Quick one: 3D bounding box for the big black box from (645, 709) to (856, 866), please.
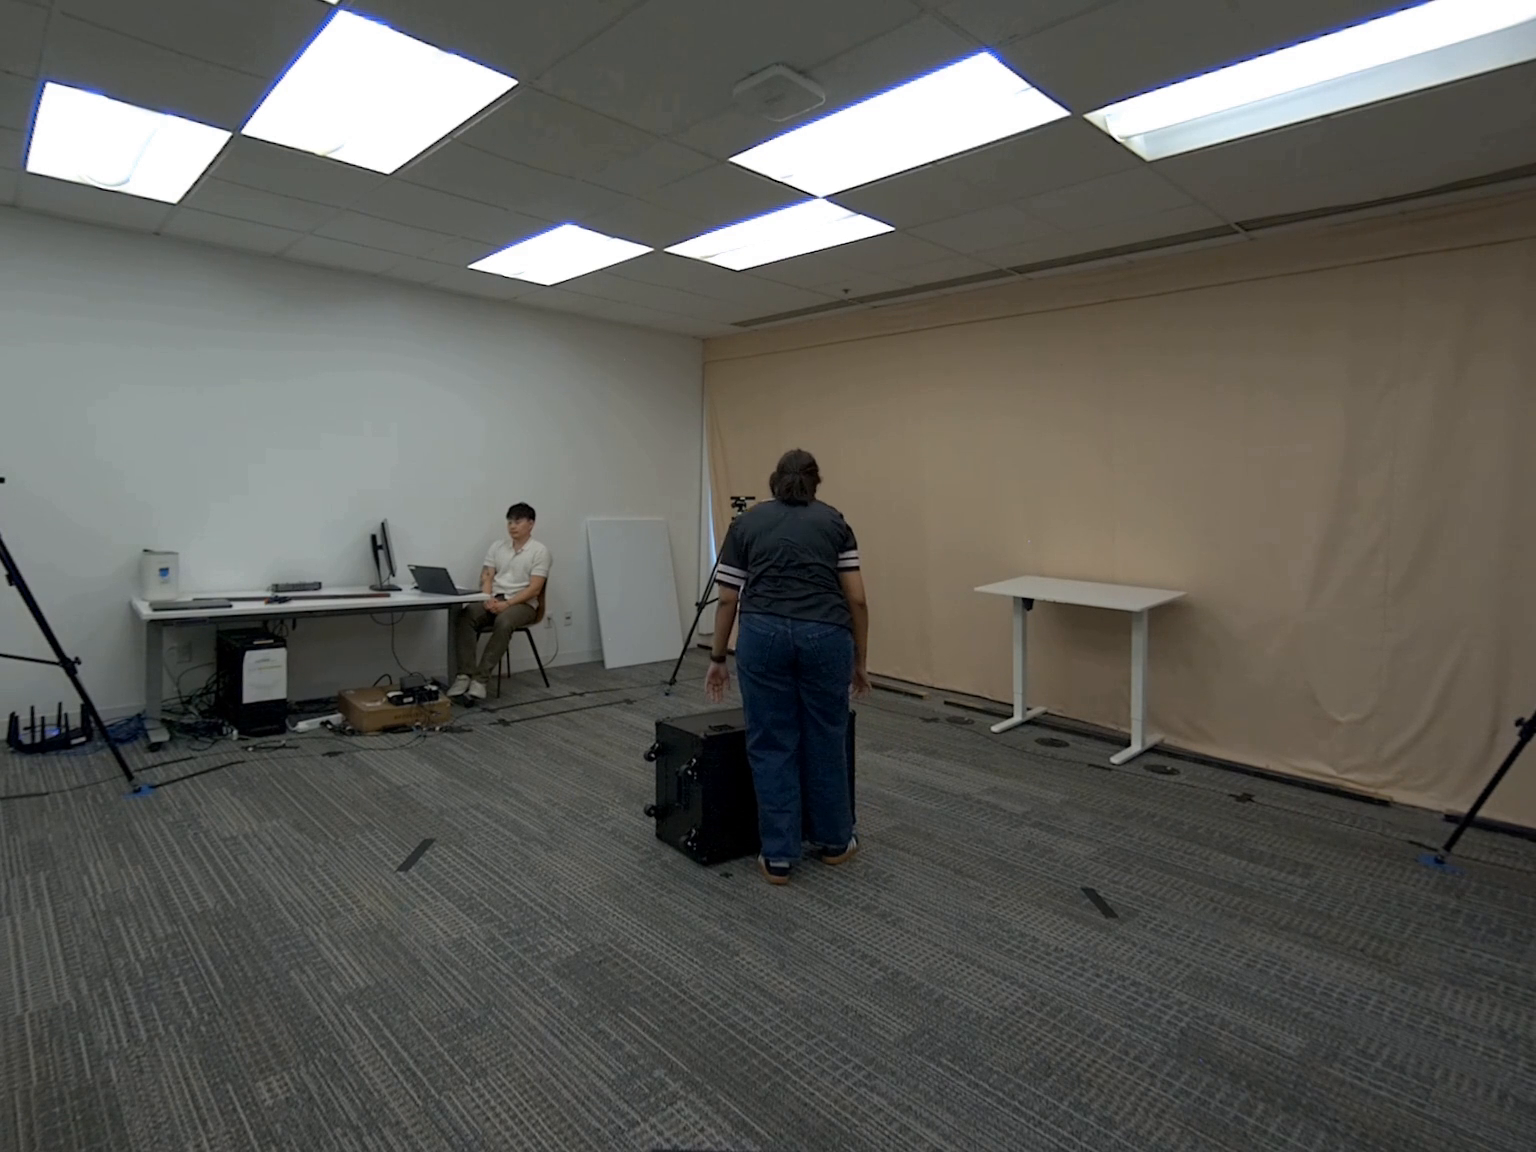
[{"bbox_3d":[-0.081,0.816,3.489,0.849,0.522,0.395,-2,5,-37],"label":"big black box"}]
